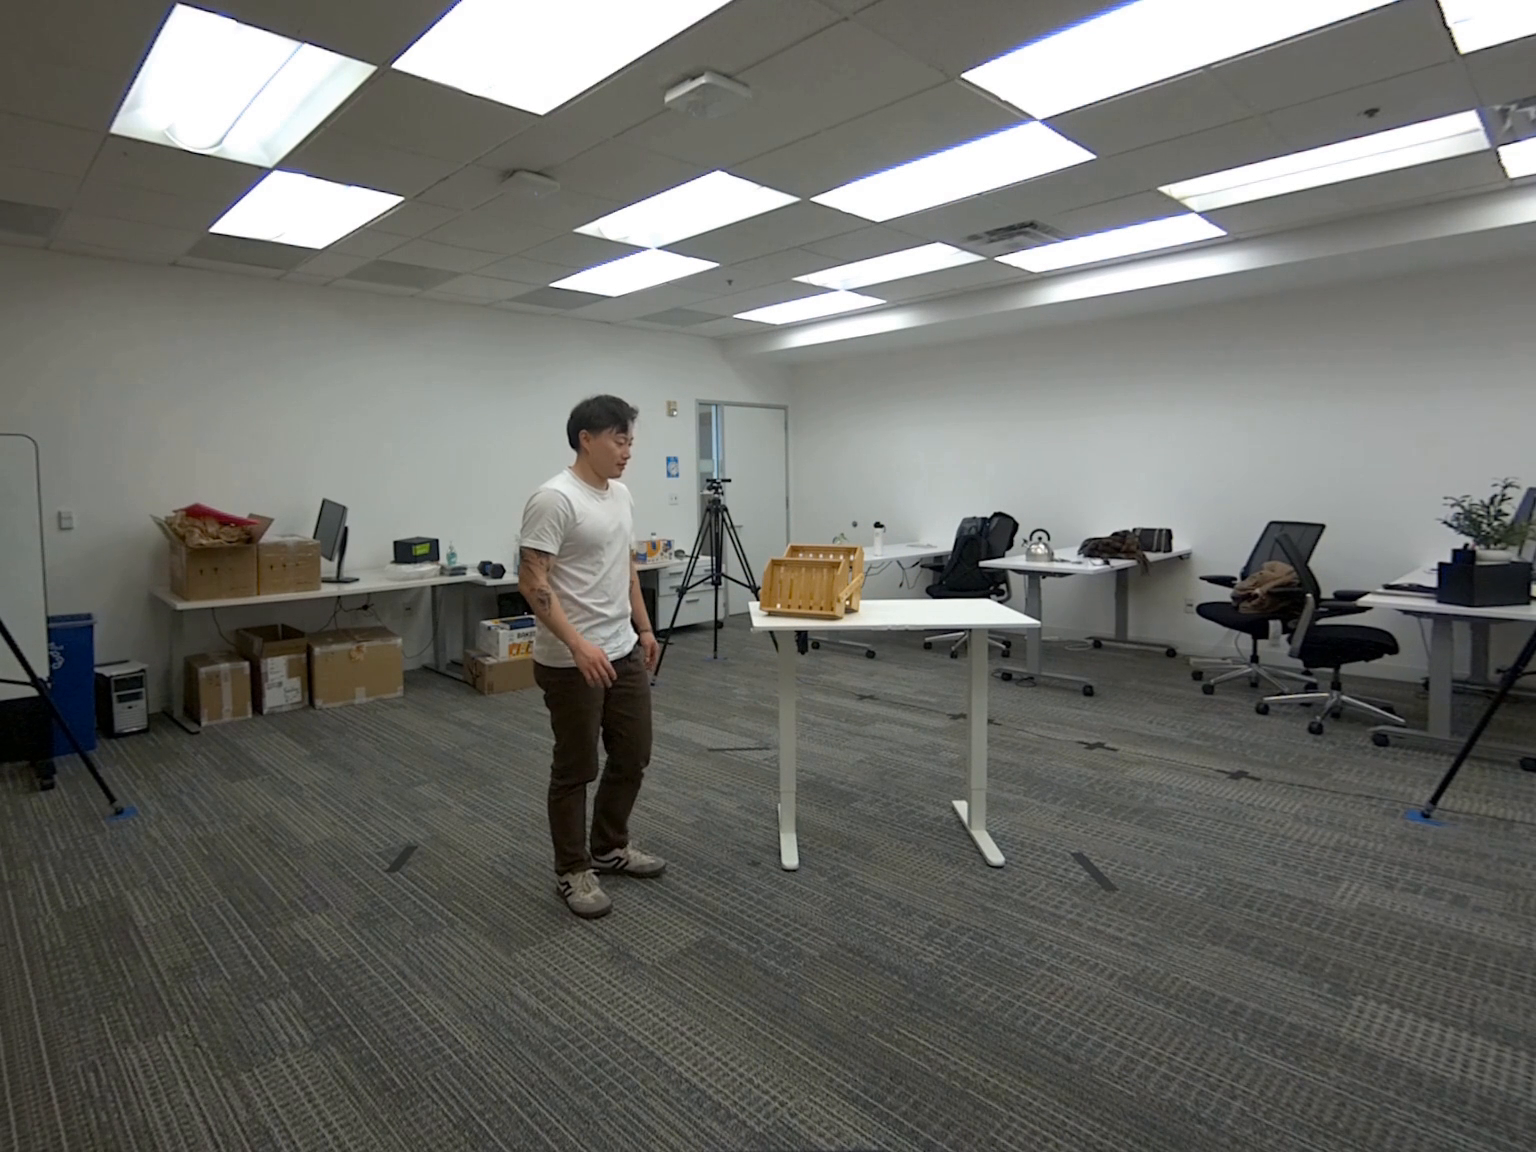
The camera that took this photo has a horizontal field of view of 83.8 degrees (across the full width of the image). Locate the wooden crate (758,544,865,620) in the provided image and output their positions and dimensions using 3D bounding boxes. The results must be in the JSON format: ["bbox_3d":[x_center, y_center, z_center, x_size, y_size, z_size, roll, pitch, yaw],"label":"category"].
[{"bbox_3d":[0.173,0.007,3.249,0.332,0.305,0.264,2,-12,26],"label":"wooden crate"}]
